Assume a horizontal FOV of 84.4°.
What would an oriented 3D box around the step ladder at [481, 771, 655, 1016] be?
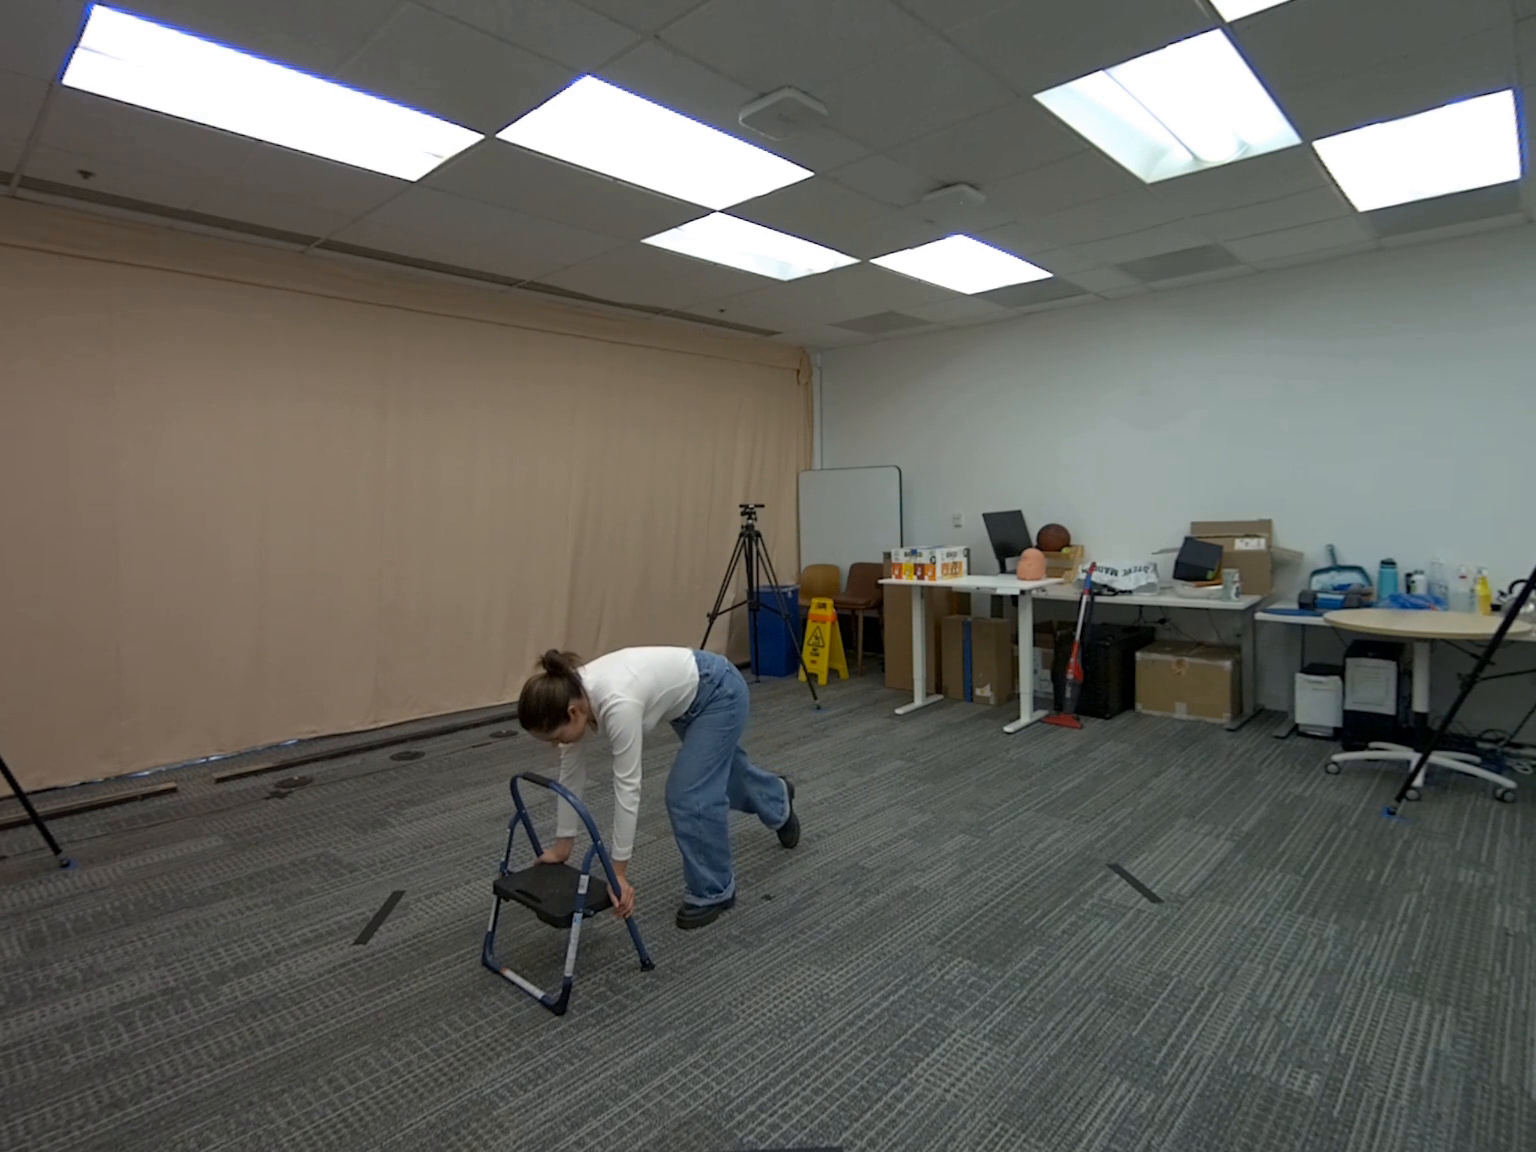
[{"bbox_3d":[-0.621,0.889,2.548,0.445,0.605,0.339,2,4,41],"label":"step ladder"}]
